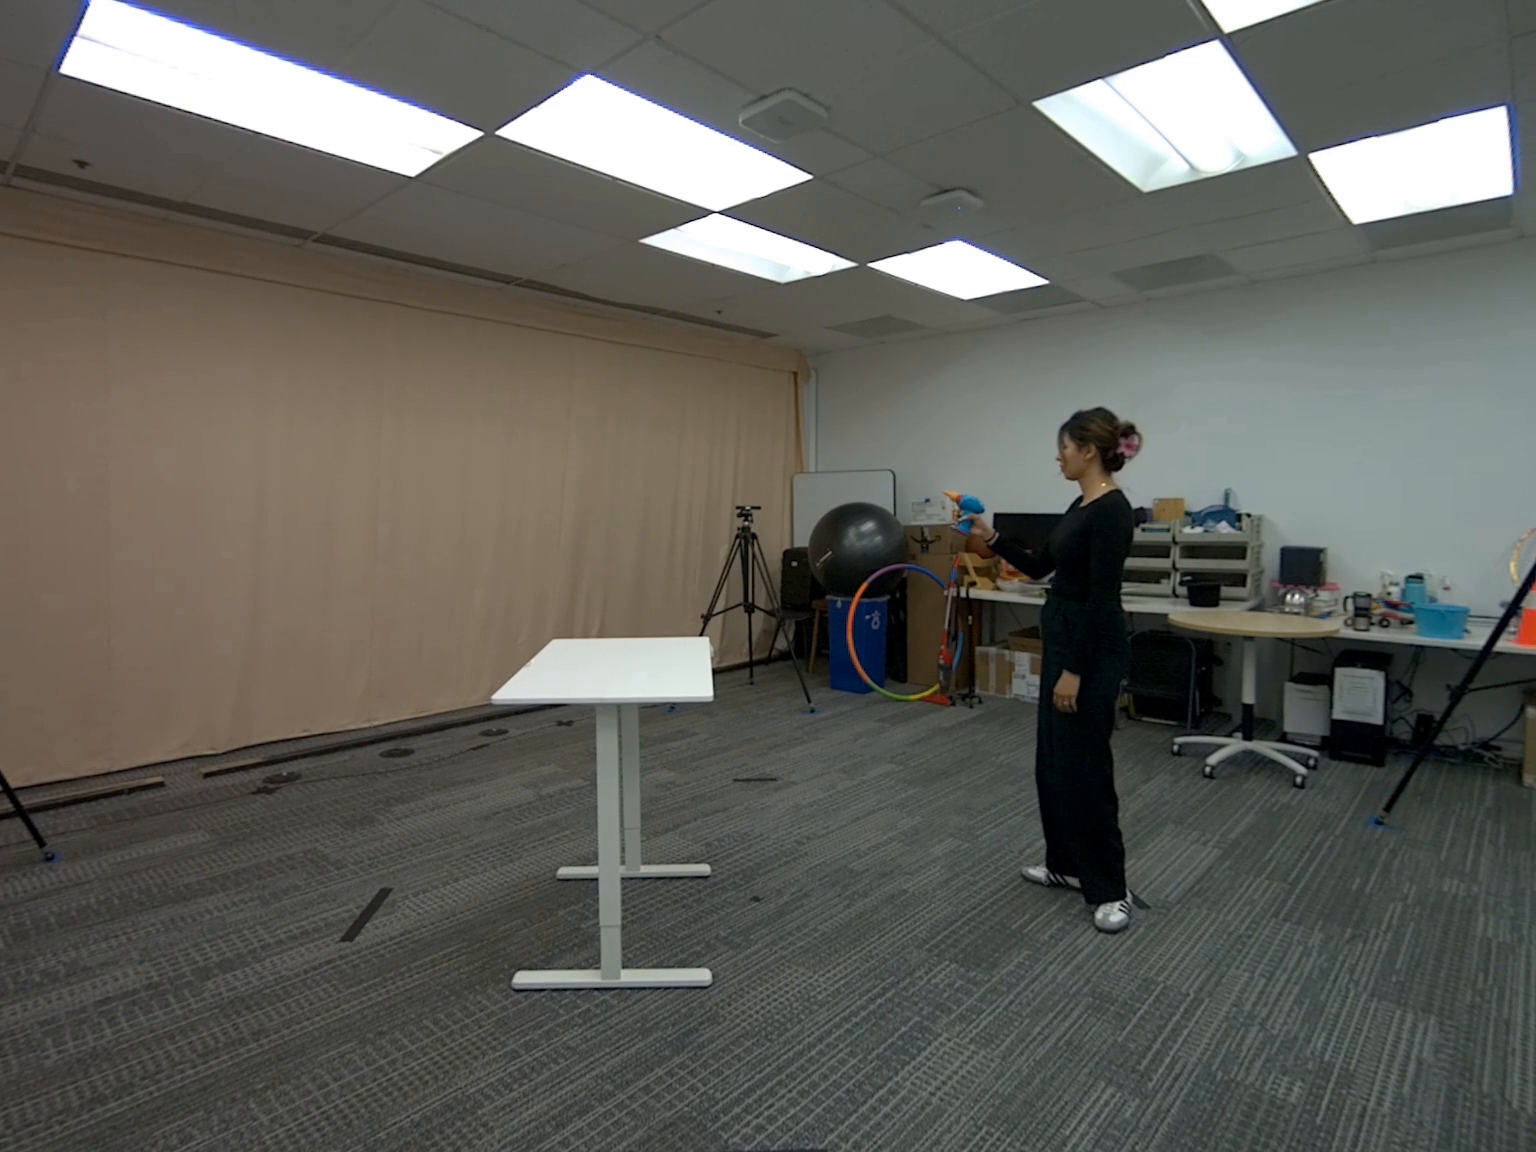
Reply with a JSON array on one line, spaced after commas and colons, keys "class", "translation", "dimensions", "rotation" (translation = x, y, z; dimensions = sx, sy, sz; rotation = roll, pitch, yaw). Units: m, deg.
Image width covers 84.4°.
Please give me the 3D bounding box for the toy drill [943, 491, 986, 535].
[{"class": "toy drill", "translation": [0.731, -0.246, 3.172], "dimensions": [0.171, 0.146, 0.061], "rotation": [26, 2, 5]}]
